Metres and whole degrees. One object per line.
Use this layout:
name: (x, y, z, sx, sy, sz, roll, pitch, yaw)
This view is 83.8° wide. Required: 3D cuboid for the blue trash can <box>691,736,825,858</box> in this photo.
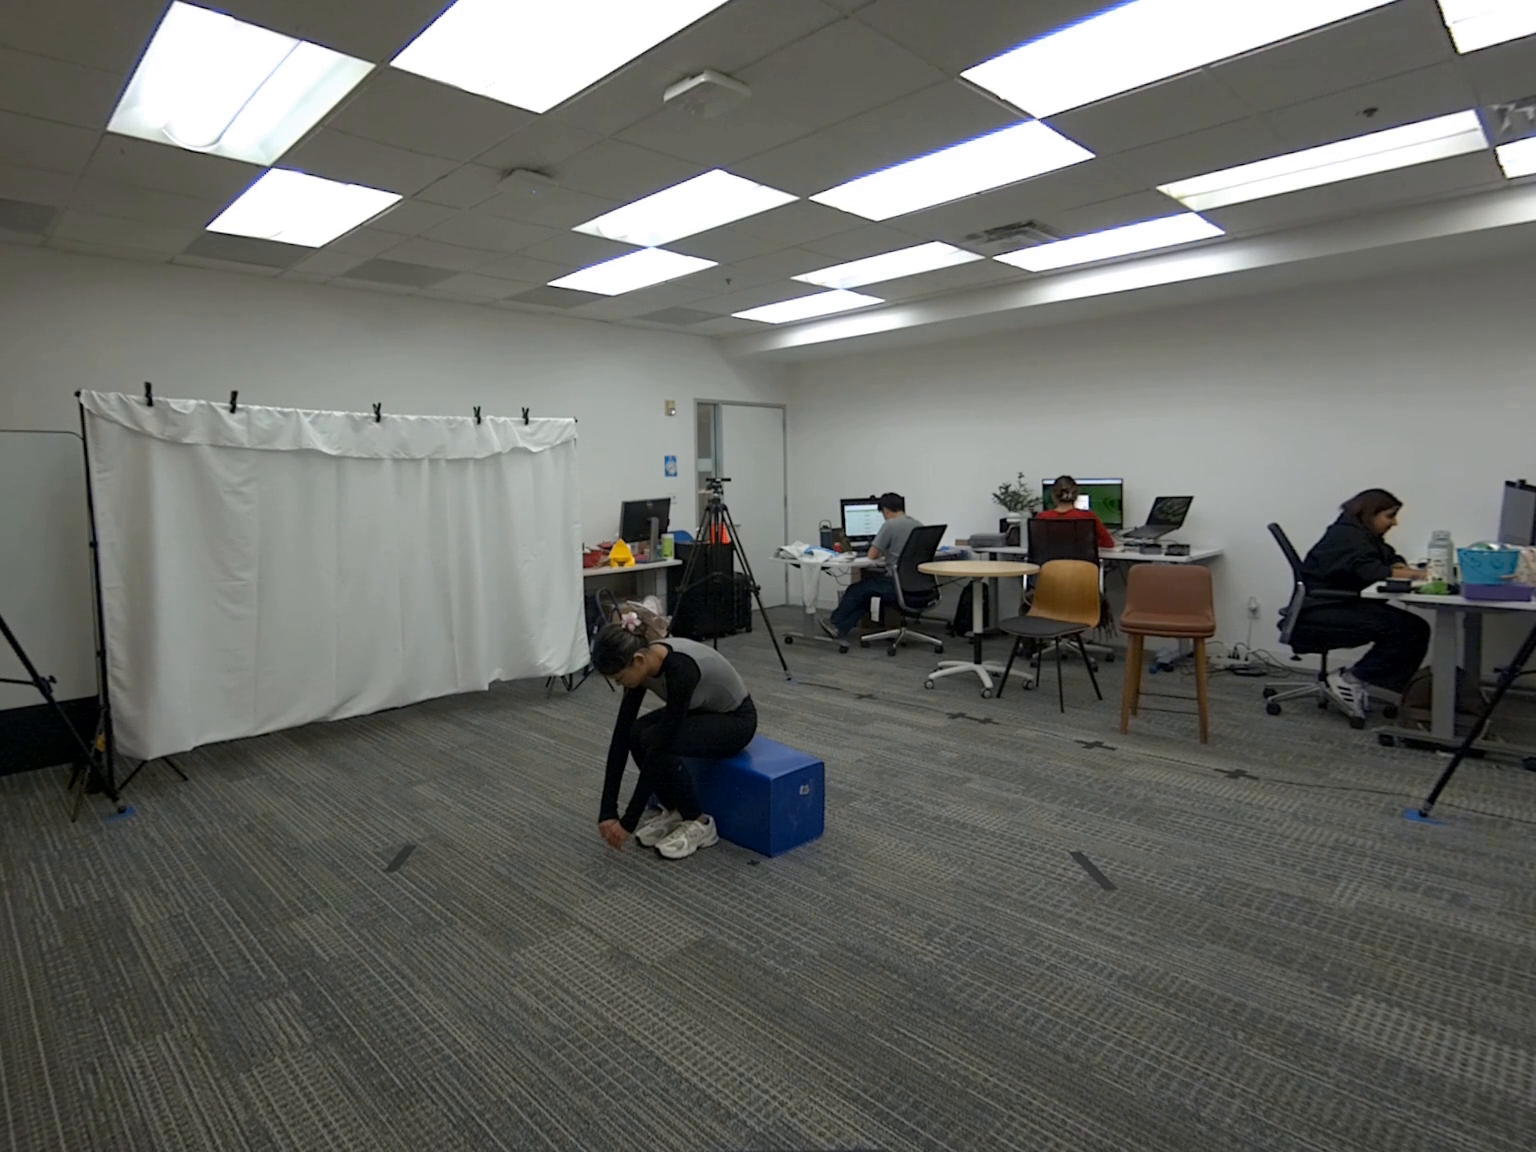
blue trash can: (-0.133, 0.825, 3.487, 0.368, 0.372, 0.736, -6, 9, -44)
